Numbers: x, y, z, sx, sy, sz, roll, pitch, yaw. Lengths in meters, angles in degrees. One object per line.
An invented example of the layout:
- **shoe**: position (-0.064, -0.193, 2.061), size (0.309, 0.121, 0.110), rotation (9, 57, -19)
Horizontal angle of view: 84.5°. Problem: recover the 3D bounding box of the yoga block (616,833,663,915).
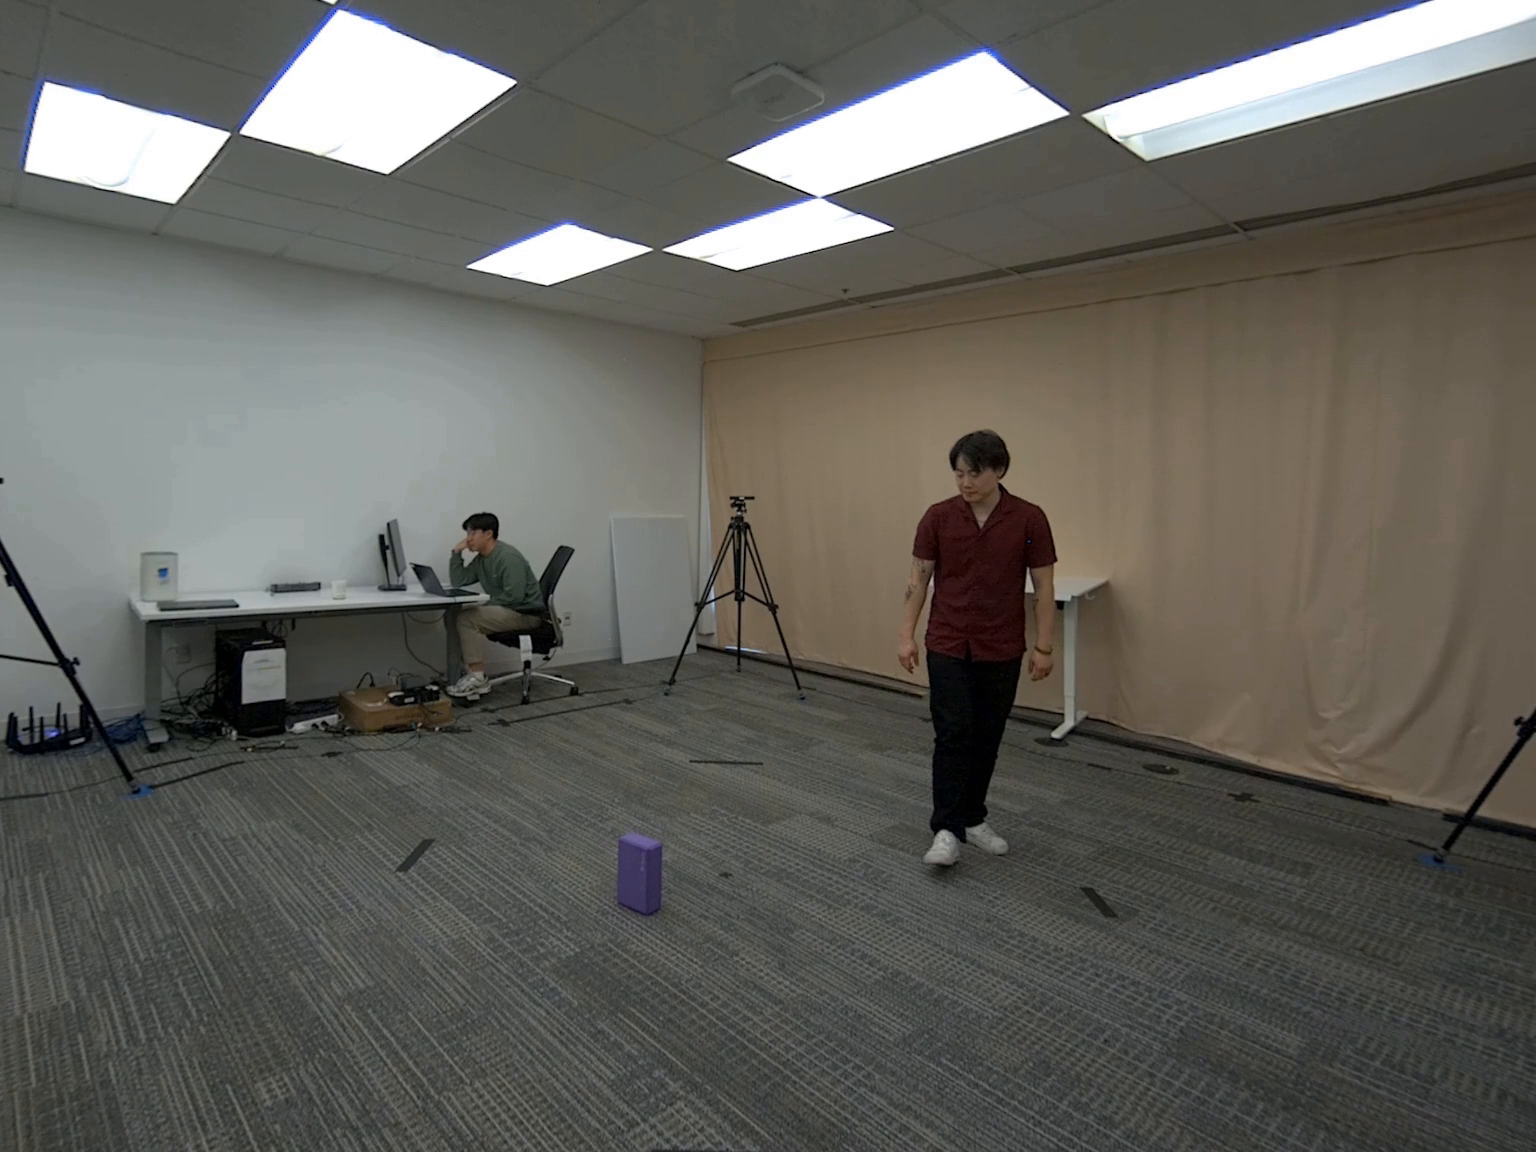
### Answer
- **yoga block**: position (-0.441, 1.006, 2.844), size (0.152, 0.229, 0.075), rotation (3, 3, 35)
